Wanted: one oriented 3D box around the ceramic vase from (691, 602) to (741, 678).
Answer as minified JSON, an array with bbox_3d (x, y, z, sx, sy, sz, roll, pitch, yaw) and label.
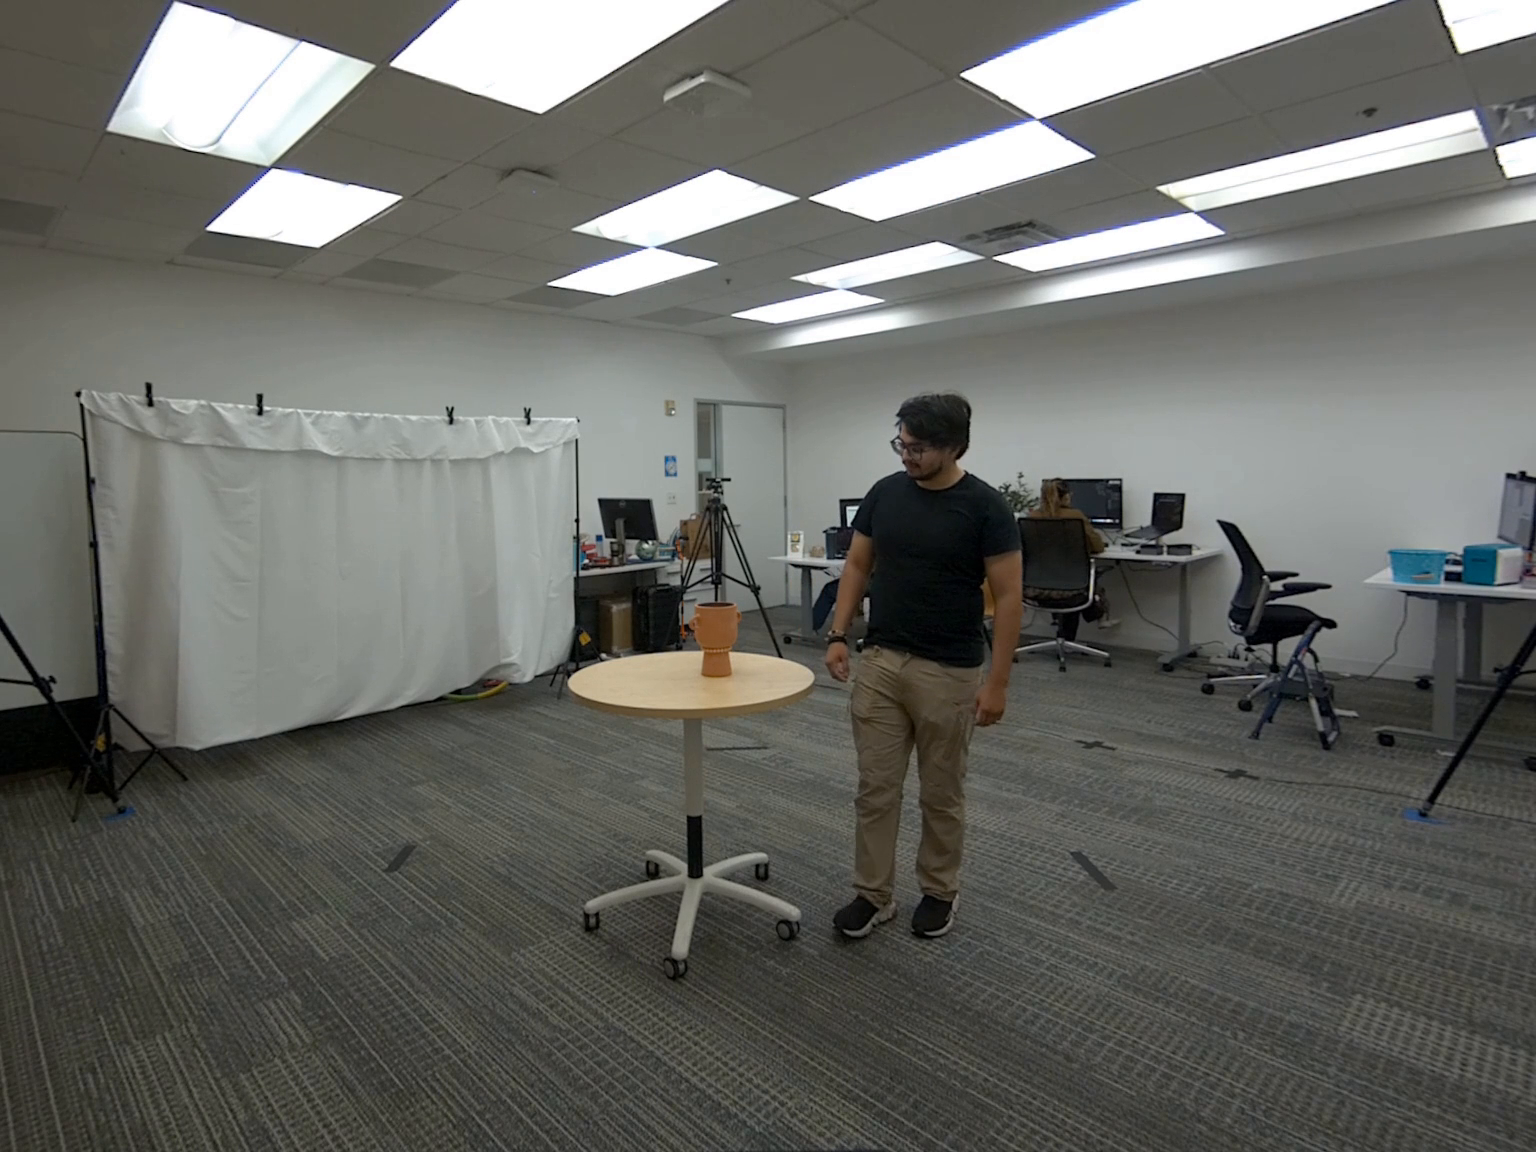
[{"bbox_3d":[-0.151,0.199,2.689,0.159,0.219,0.135,-1,6,1],"label":"ceramic vase"}]
